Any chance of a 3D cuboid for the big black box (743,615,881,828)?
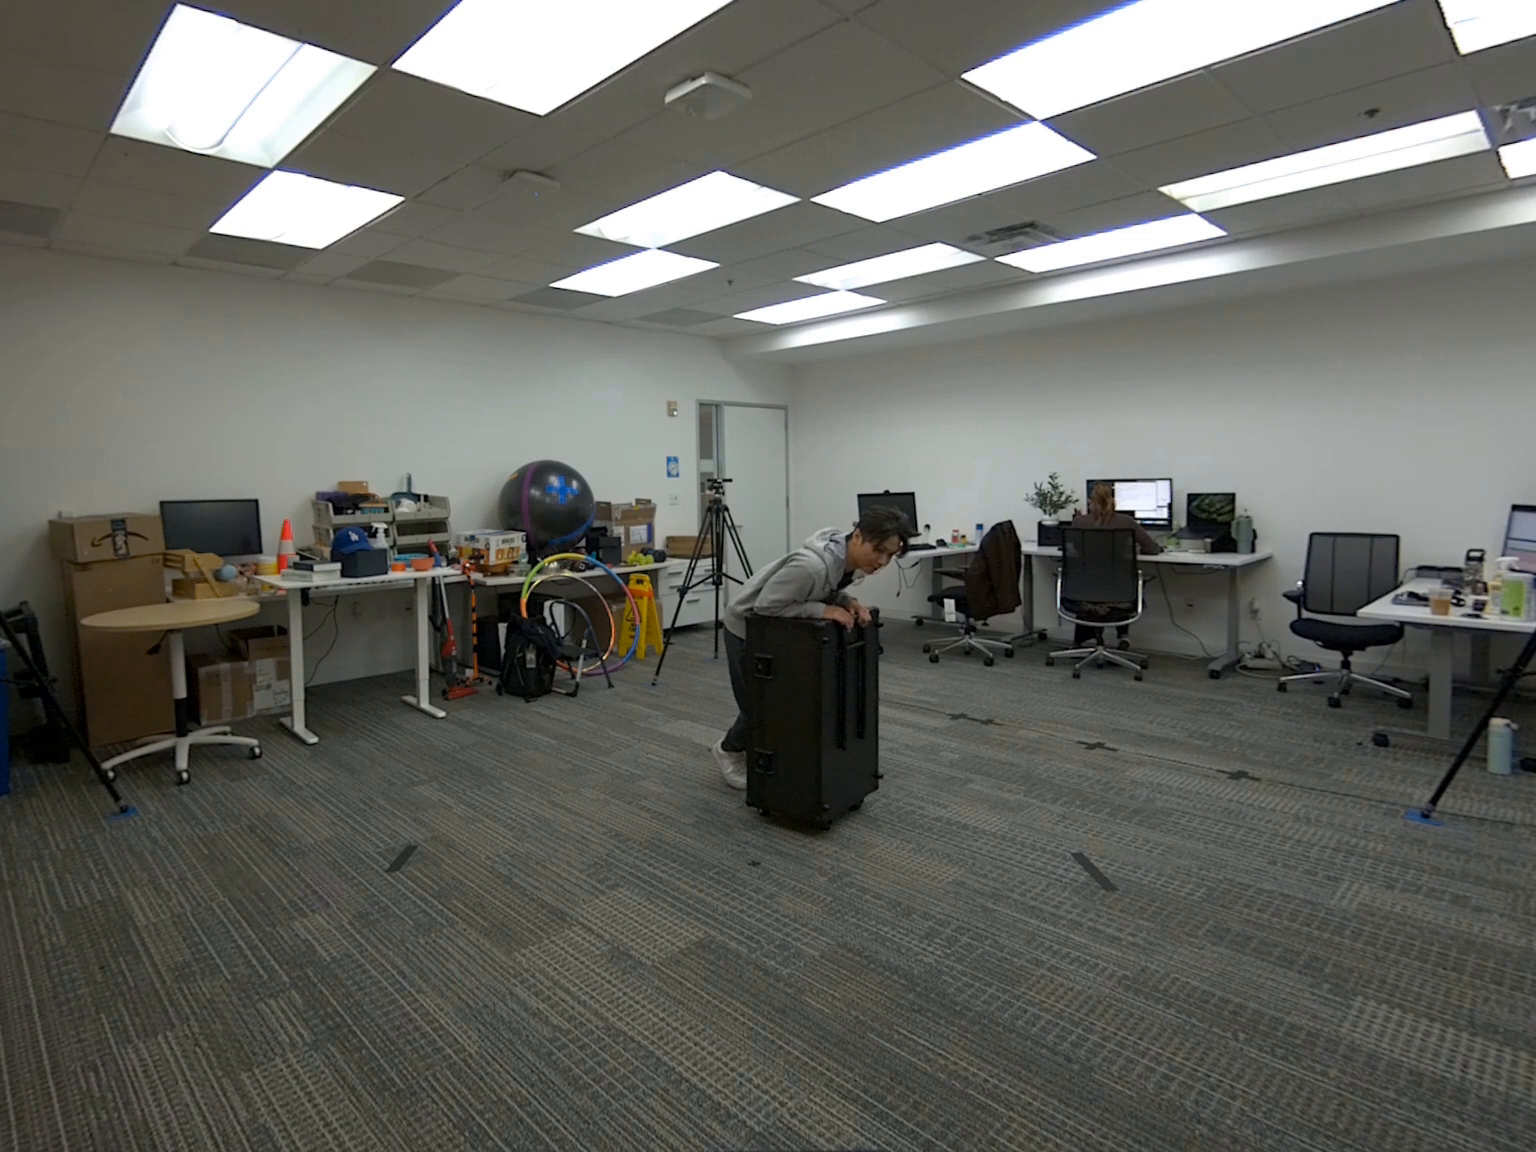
[{"bbox_3d":[0.206,0.574,3.528,0.408,0.858,0.508,4,6,35],"label":"big black box"}]
